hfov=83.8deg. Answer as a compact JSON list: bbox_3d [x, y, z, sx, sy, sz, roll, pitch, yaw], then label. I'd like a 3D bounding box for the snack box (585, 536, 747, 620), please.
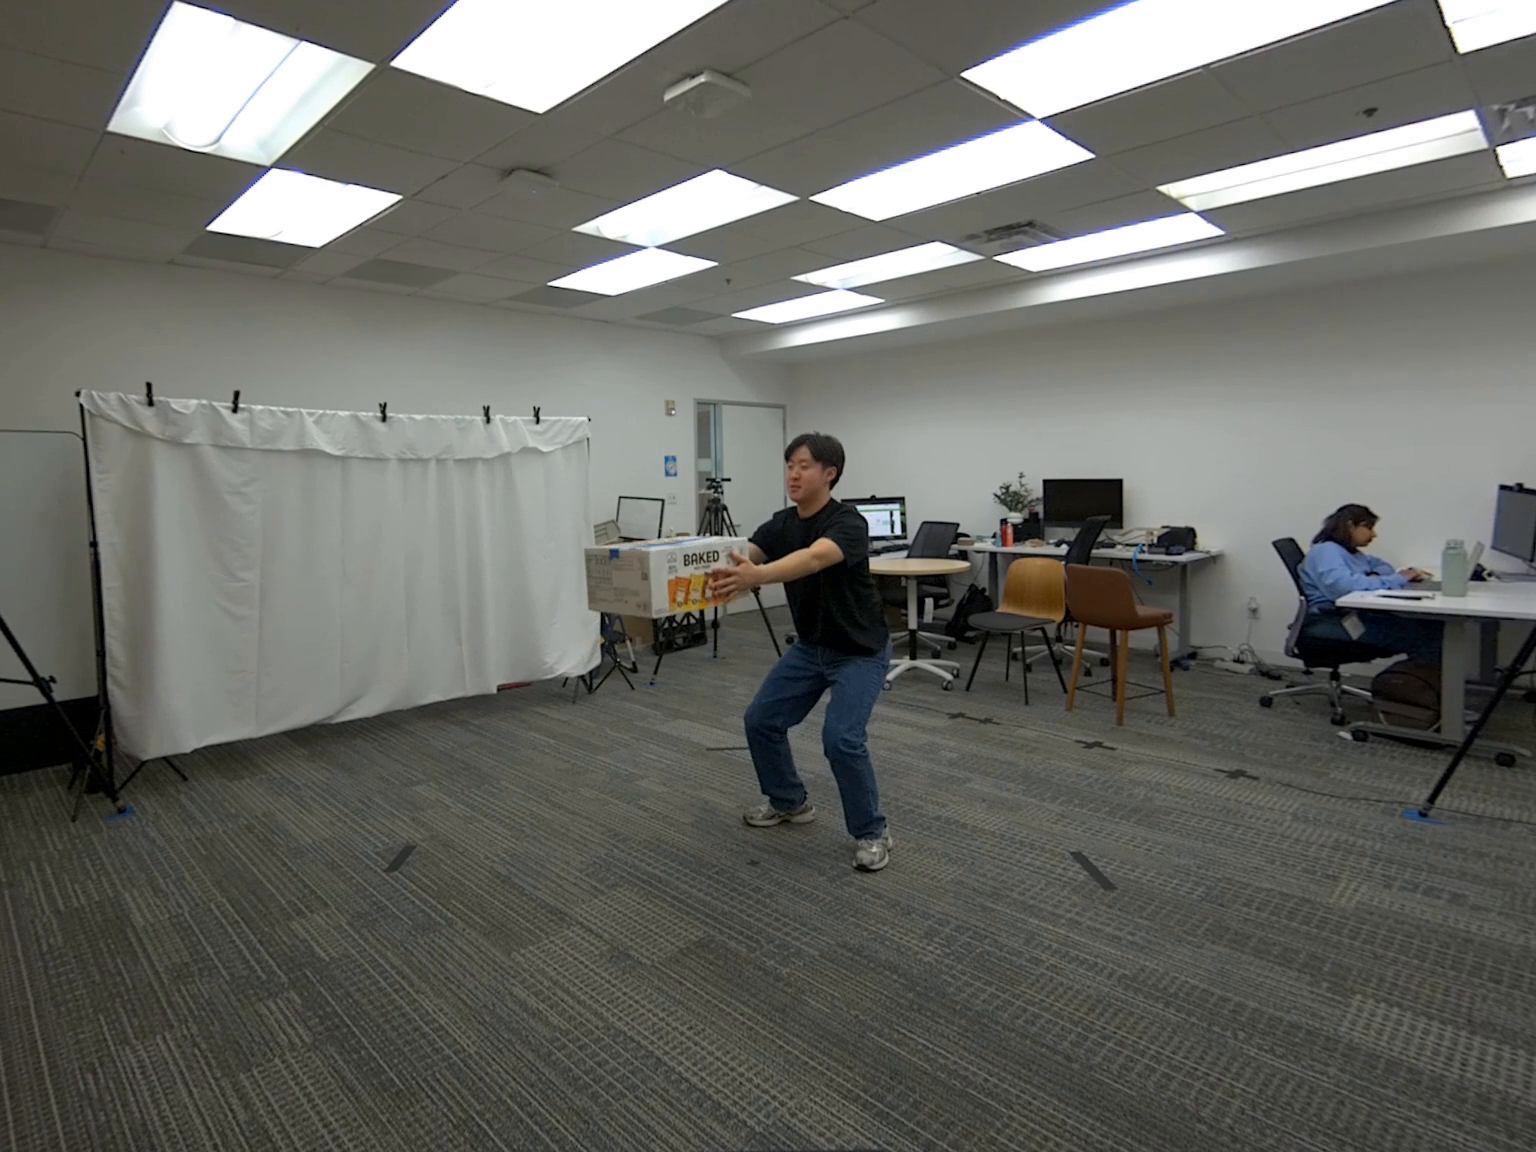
[{"bbox_3d":[-0.318,0.000,2.728,0.395,0.205,0.350,-10,8,-44],"label":"snack box"}]
